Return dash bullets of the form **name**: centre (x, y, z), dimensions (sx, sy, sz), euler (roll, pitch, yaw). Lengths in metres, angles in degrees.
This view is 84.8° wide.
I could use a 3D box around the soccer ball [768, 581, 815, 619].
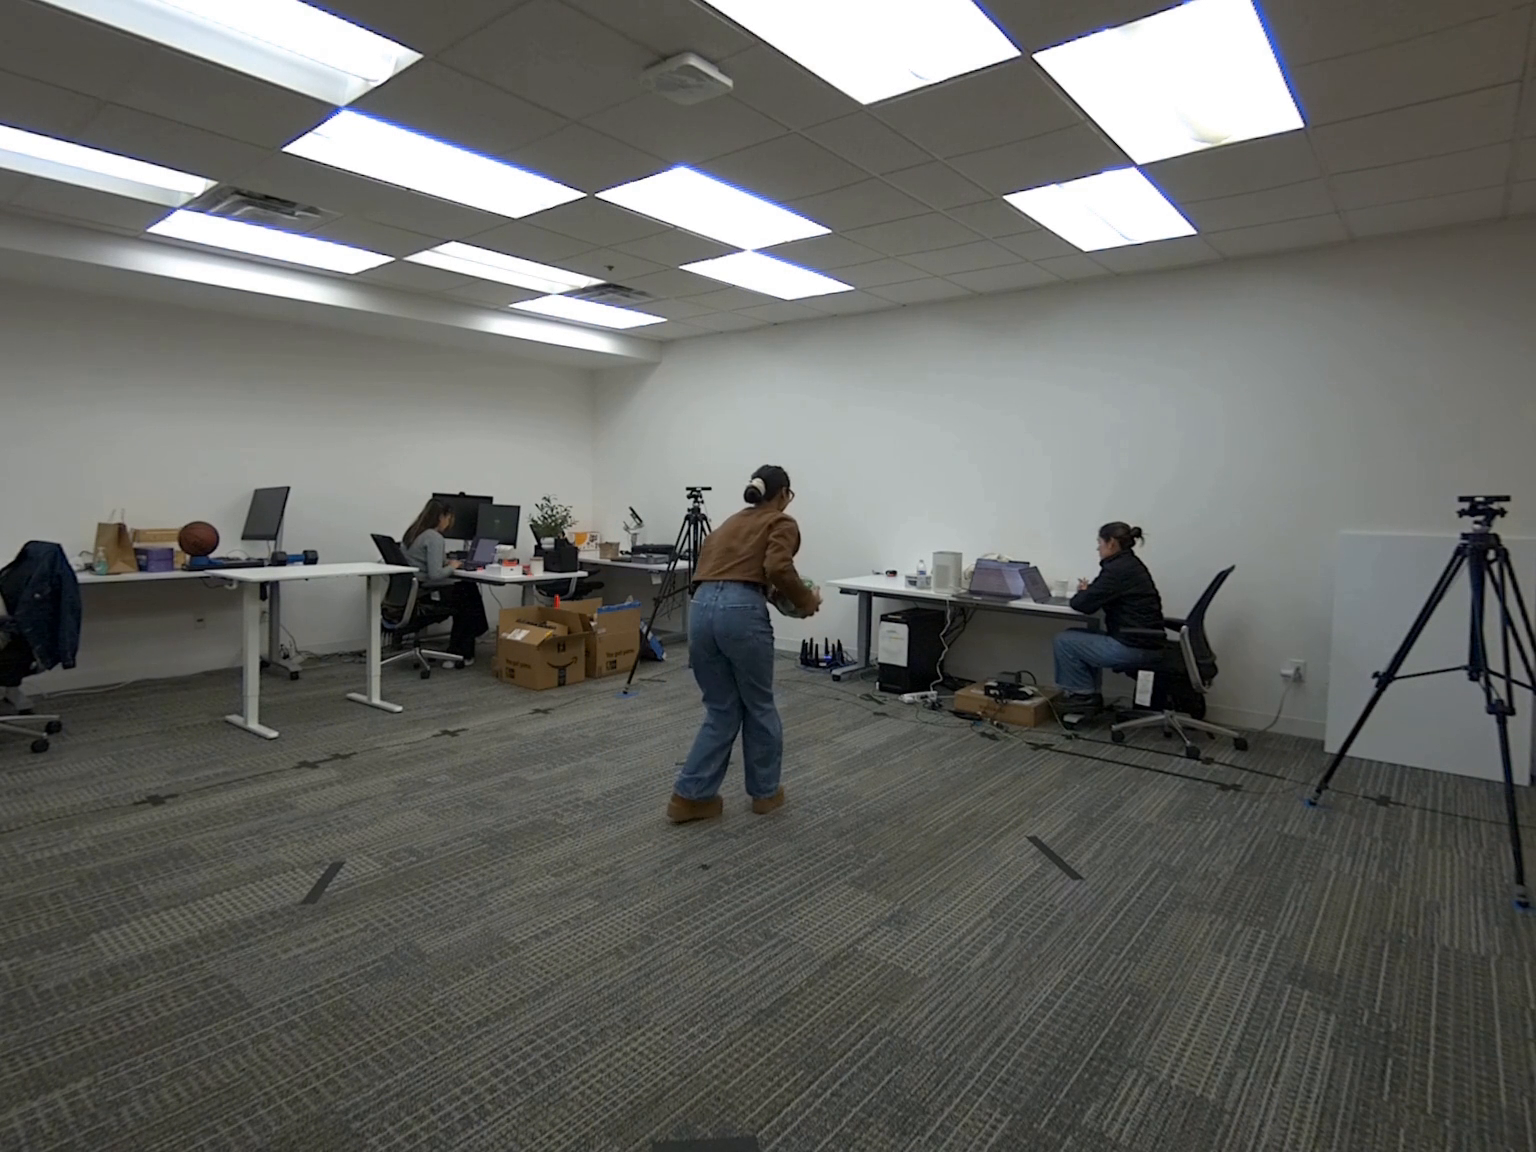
- **soccer ball**: centre (0.115, 0.105, 3.644), dimensions (0.187, 0.187, 0.188), euler (1, 4, -2)
